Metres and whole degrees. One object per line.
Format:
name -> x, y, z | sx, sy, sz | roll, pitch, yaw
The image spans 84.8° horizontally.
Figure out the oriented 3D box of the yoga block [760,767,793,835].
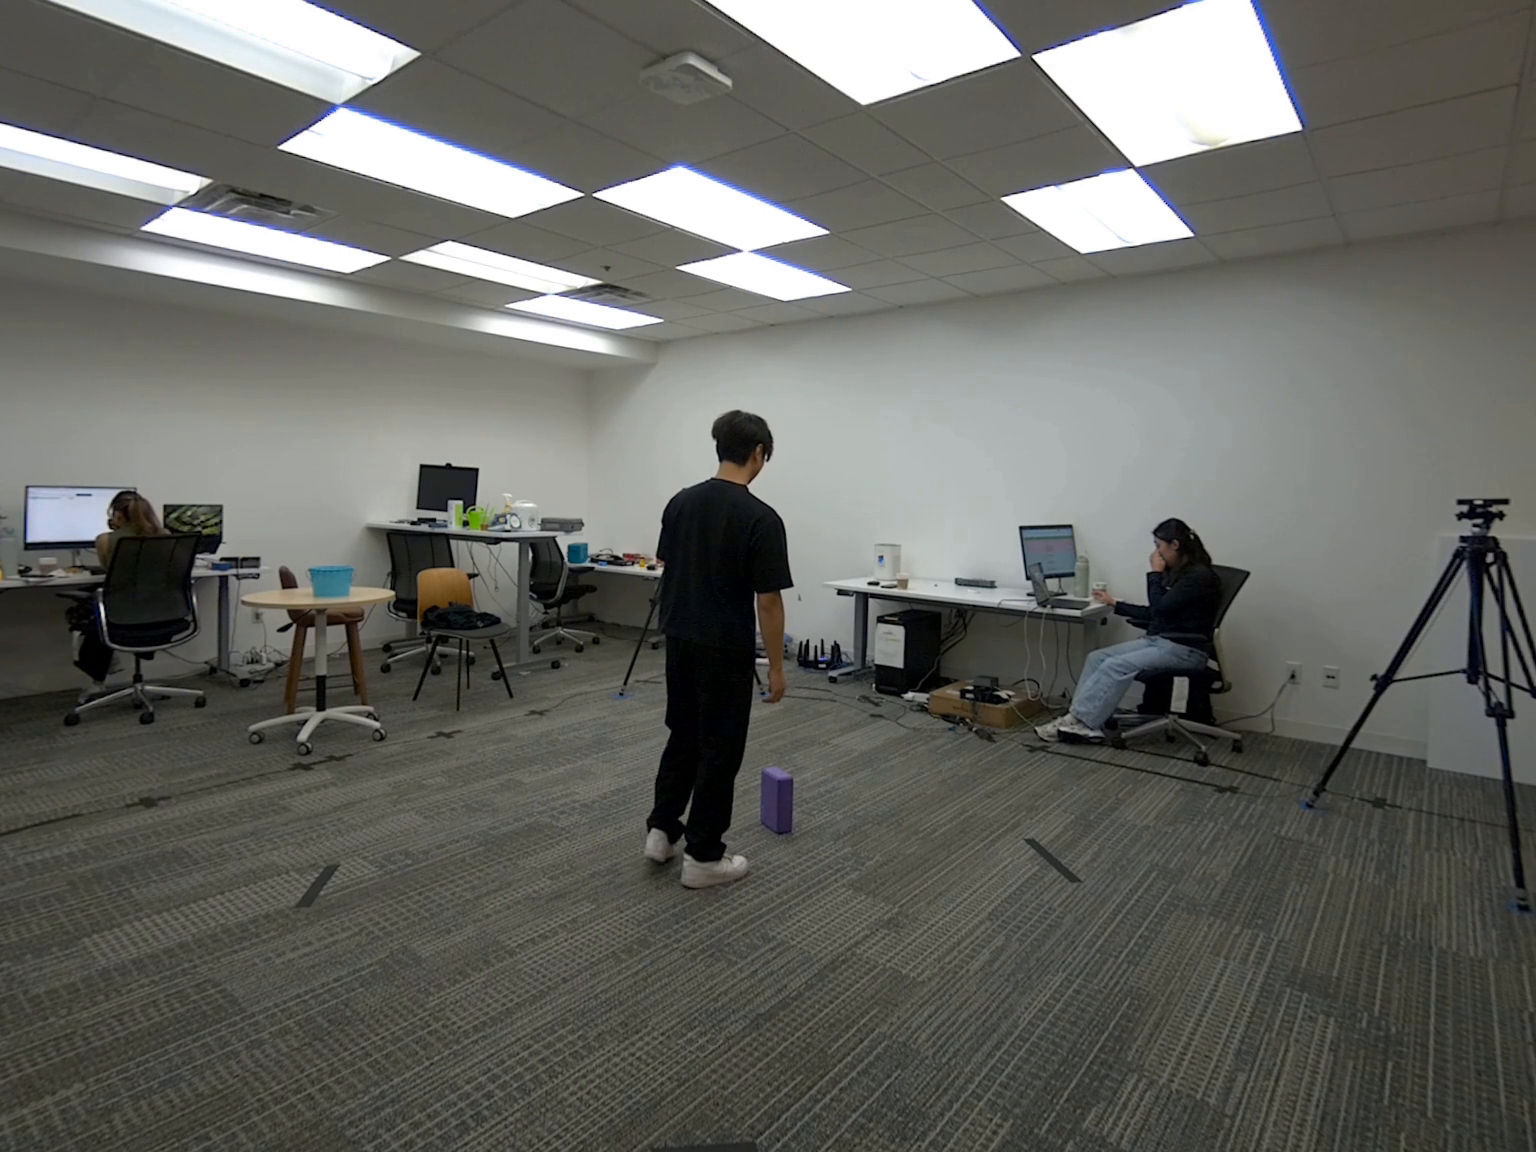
yoga block -> 0.029, 0.919, 3.510 | 0.074, 0.229, 0.153 | 0, 3, -30
